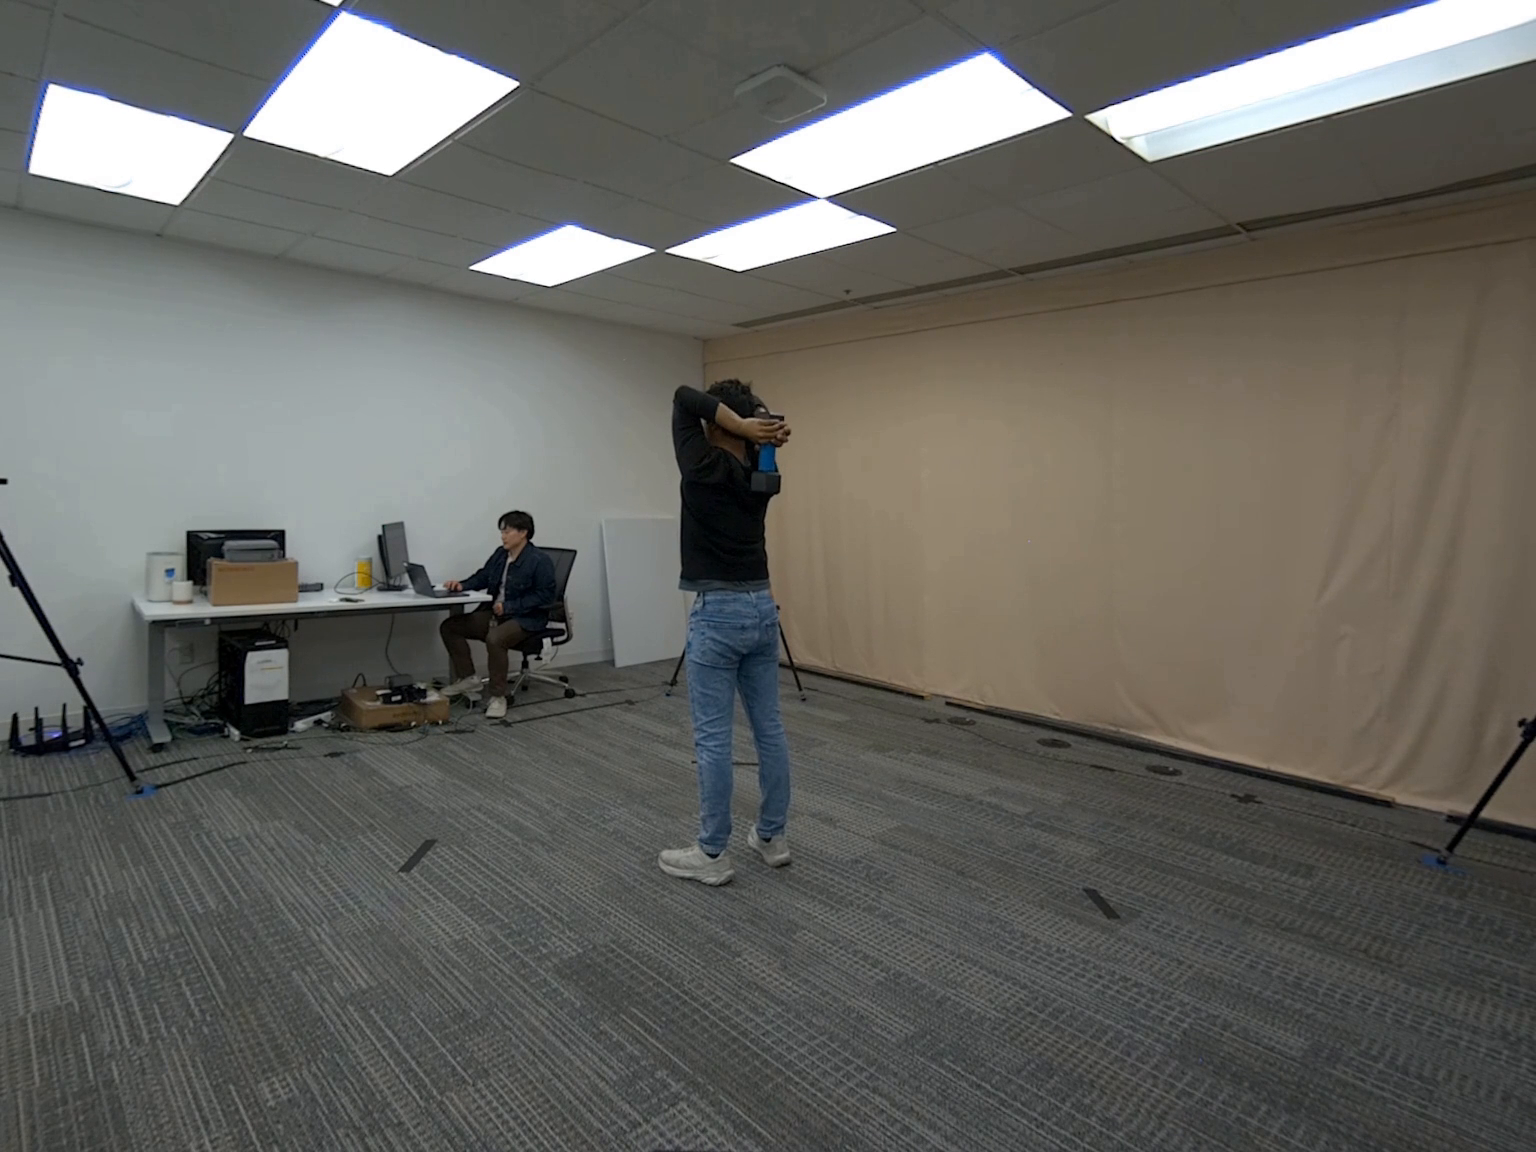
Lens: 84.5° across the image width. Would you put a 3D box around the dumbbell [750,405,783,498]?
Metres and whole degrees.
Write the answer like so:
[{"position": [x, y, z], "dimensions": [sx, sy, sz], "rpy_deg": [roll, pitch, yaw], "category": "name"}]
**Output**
[{"position": [-0.033, -0.462, 3.035], "dimensions": [0.120, 0.293, 0.111], "rpy_deg": [2, 0, -42], "category": "dumbbell"}]
